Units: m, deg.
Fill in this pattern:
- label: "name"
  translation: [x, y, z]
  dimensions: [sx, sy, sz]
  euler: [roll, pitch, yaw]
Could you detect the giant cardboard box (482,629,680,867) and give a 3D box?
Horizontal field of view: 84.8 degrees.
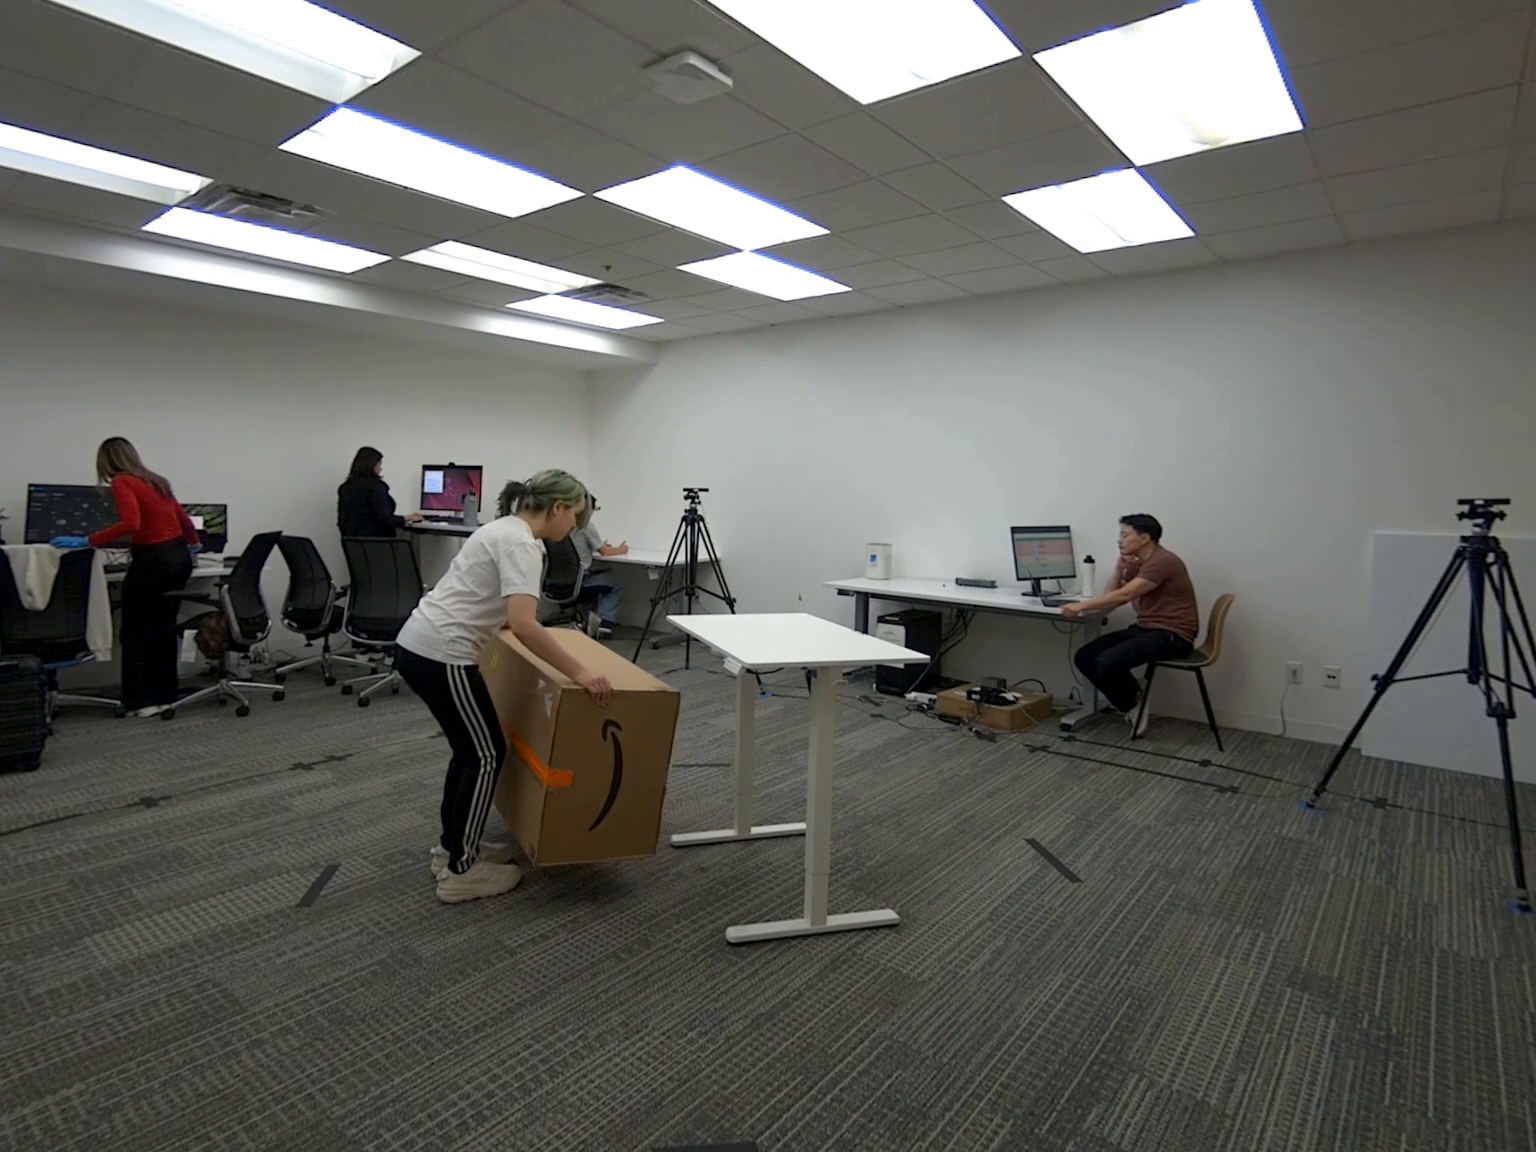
- label: "giant cardboard box"
  translation: [-0.798, 0.578, 3.211]
  dimensions: [0.433, 0.582, 1.062]
  euler: [6, 4, -32]
